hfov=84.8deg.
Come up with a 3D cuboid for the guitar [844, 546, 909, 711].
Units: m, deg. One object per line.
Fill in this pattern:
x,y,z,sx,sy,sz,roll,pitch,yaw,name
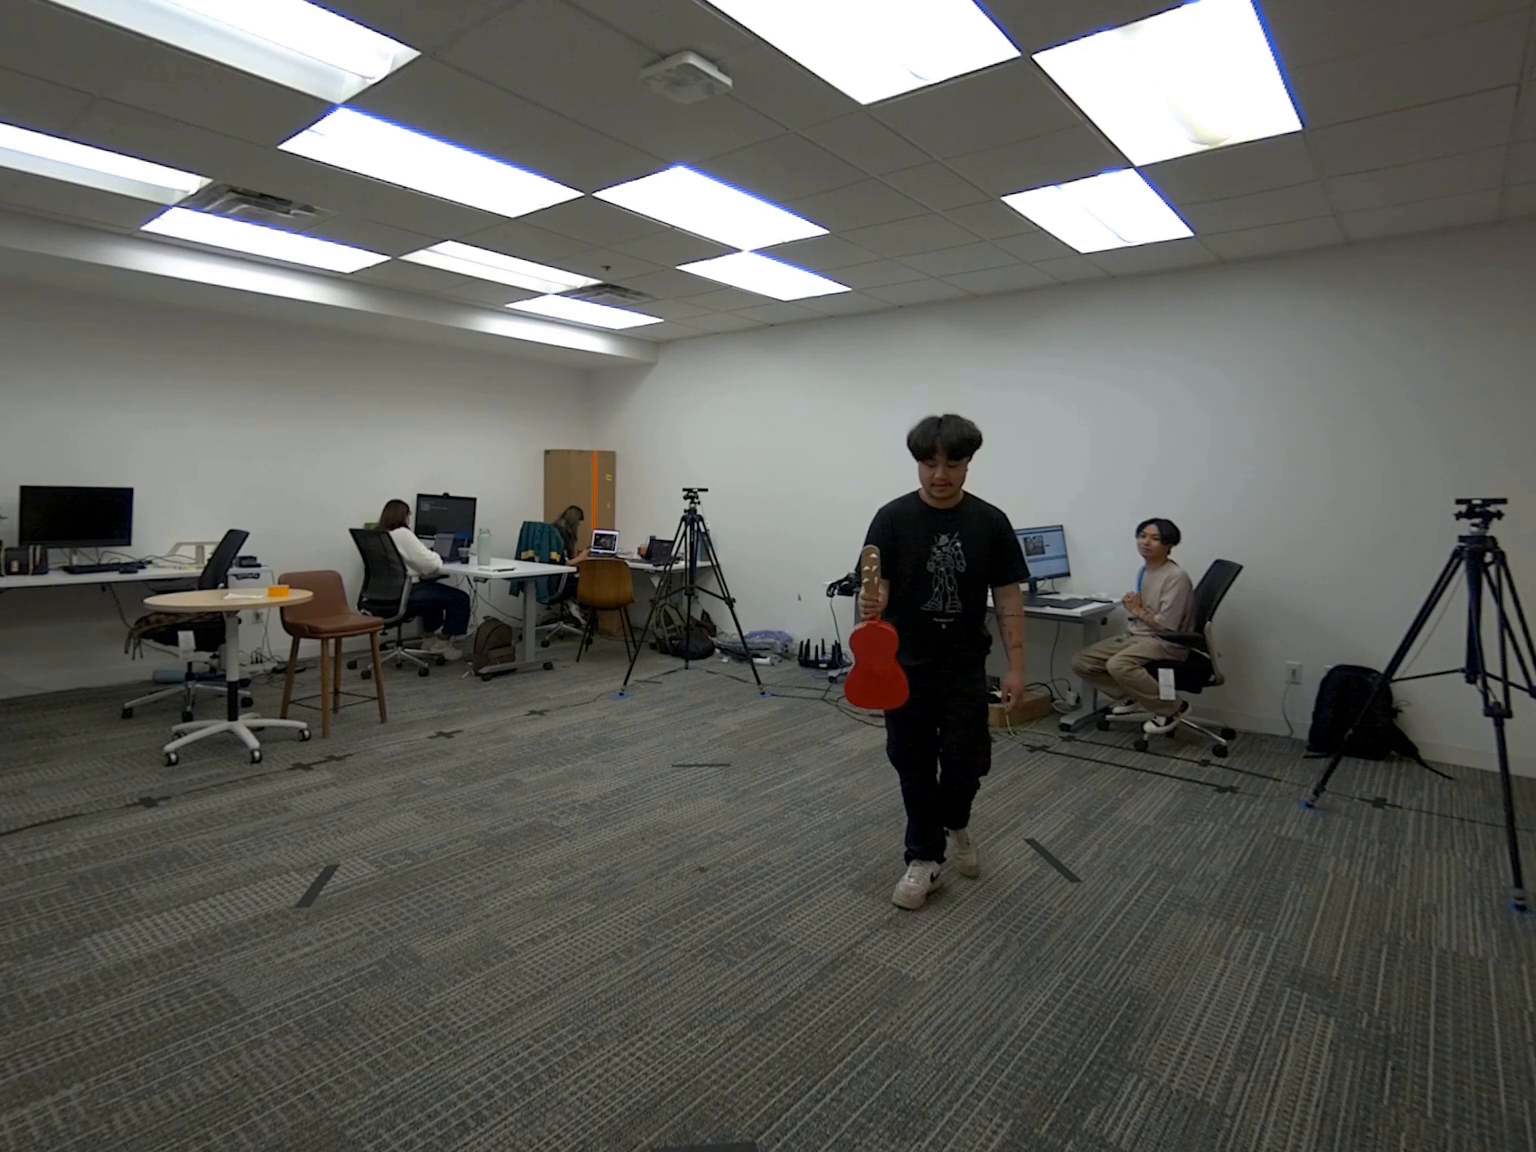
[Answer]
0.298,0.165,2.610,0.195,0.493,0.070,-9,8,14,guitar
